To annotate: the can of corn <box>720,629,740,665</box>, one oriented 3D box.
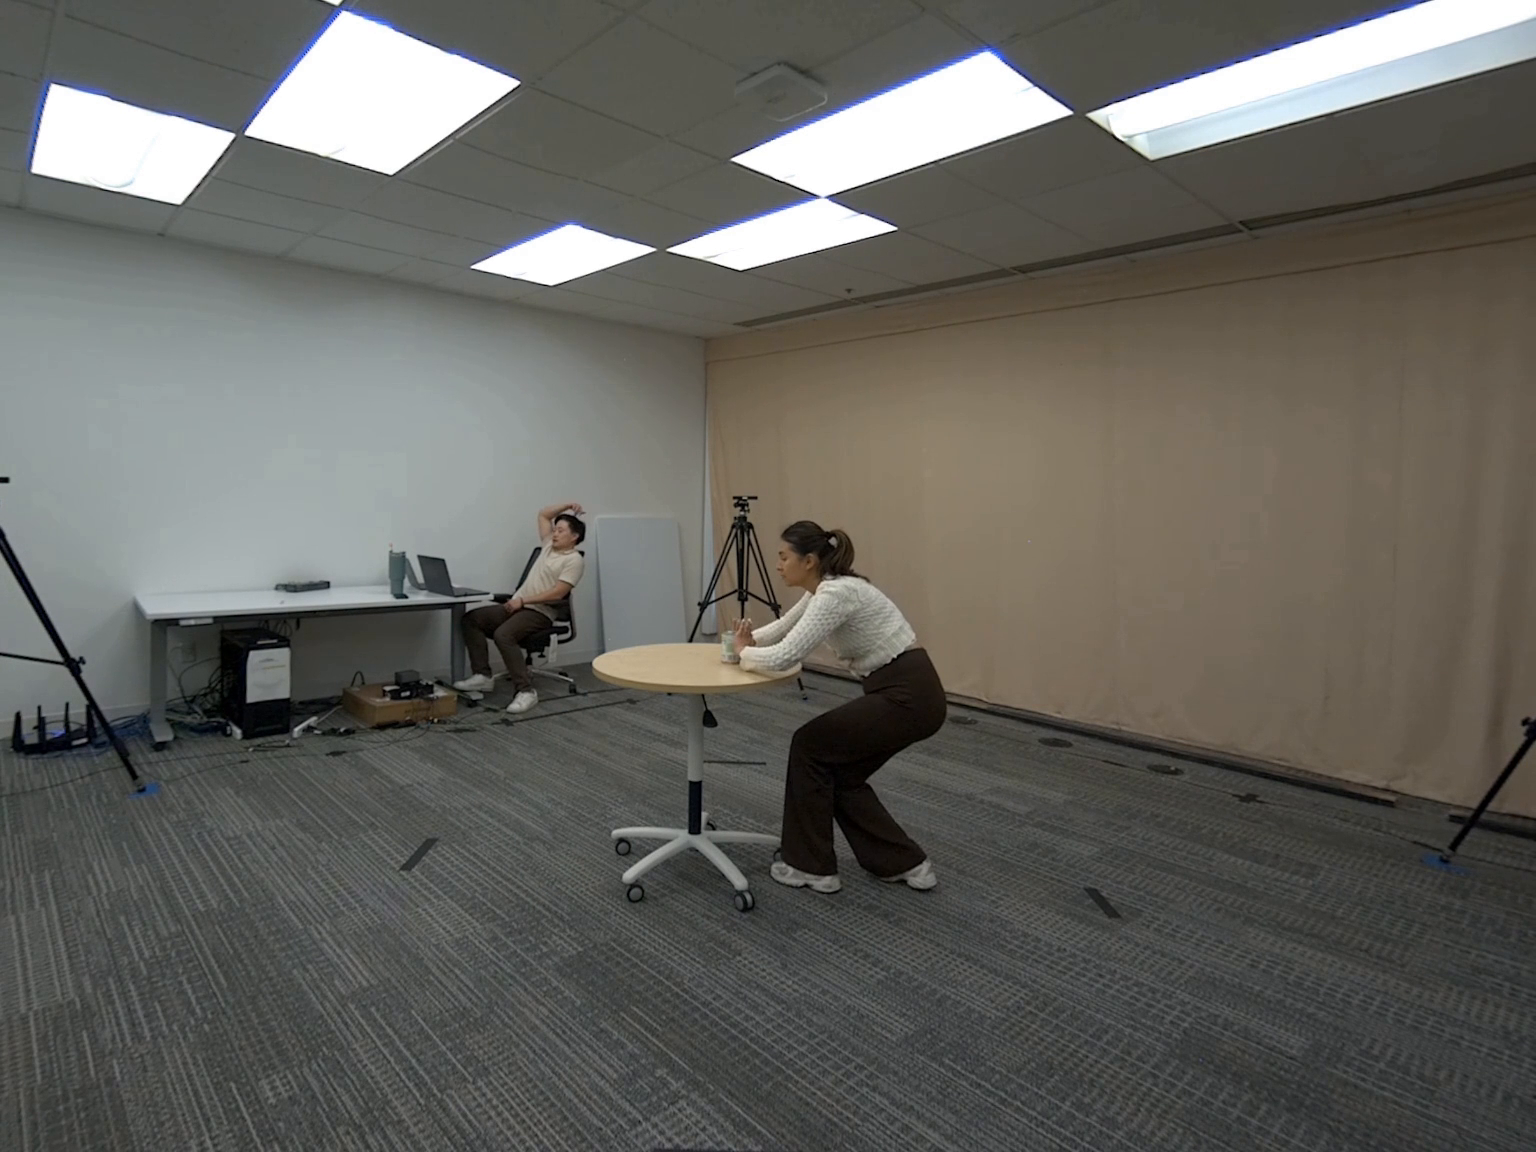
[{"bbox_3d":[-0.139,0.258,3.100,0.074,0.111,0.074,1,1,-1],"label":"can of corn"}]
